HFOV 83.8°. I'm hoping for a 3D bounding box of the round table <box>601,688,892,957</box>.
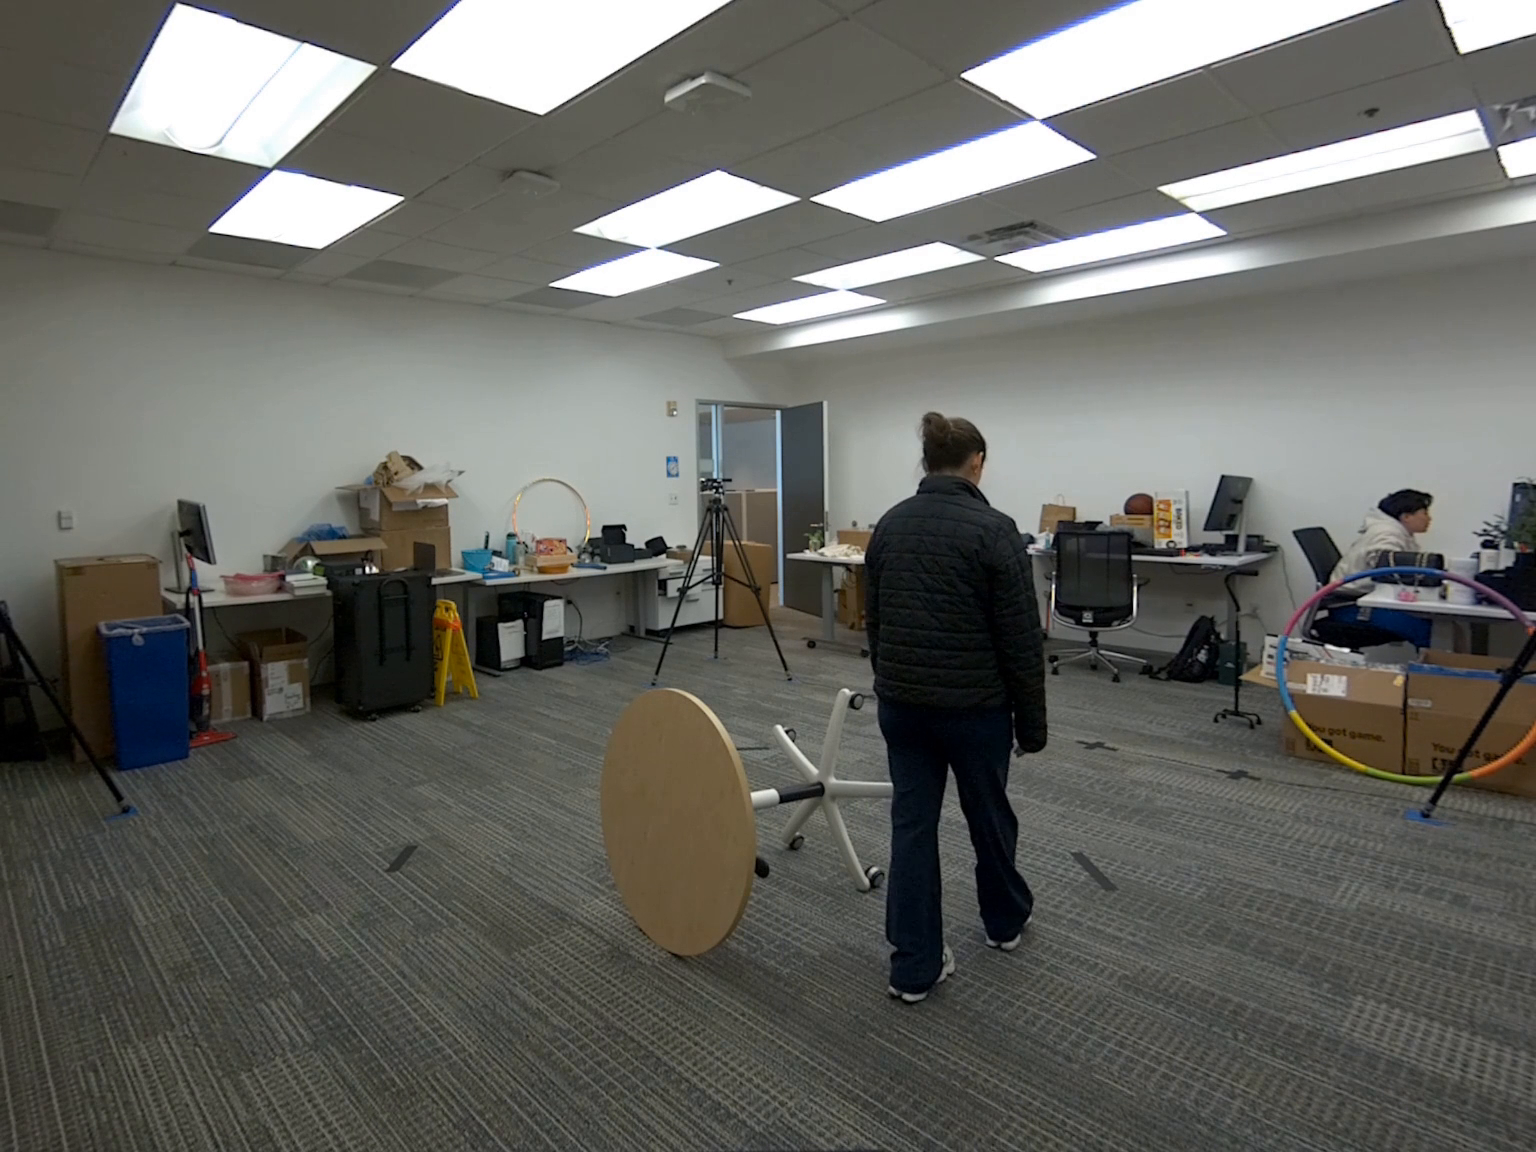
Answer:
[{"bbox_3d":[-0.007,0.738,2.831,0.763,0.785,0.809,2,2,-40],"label":"round table"}]
